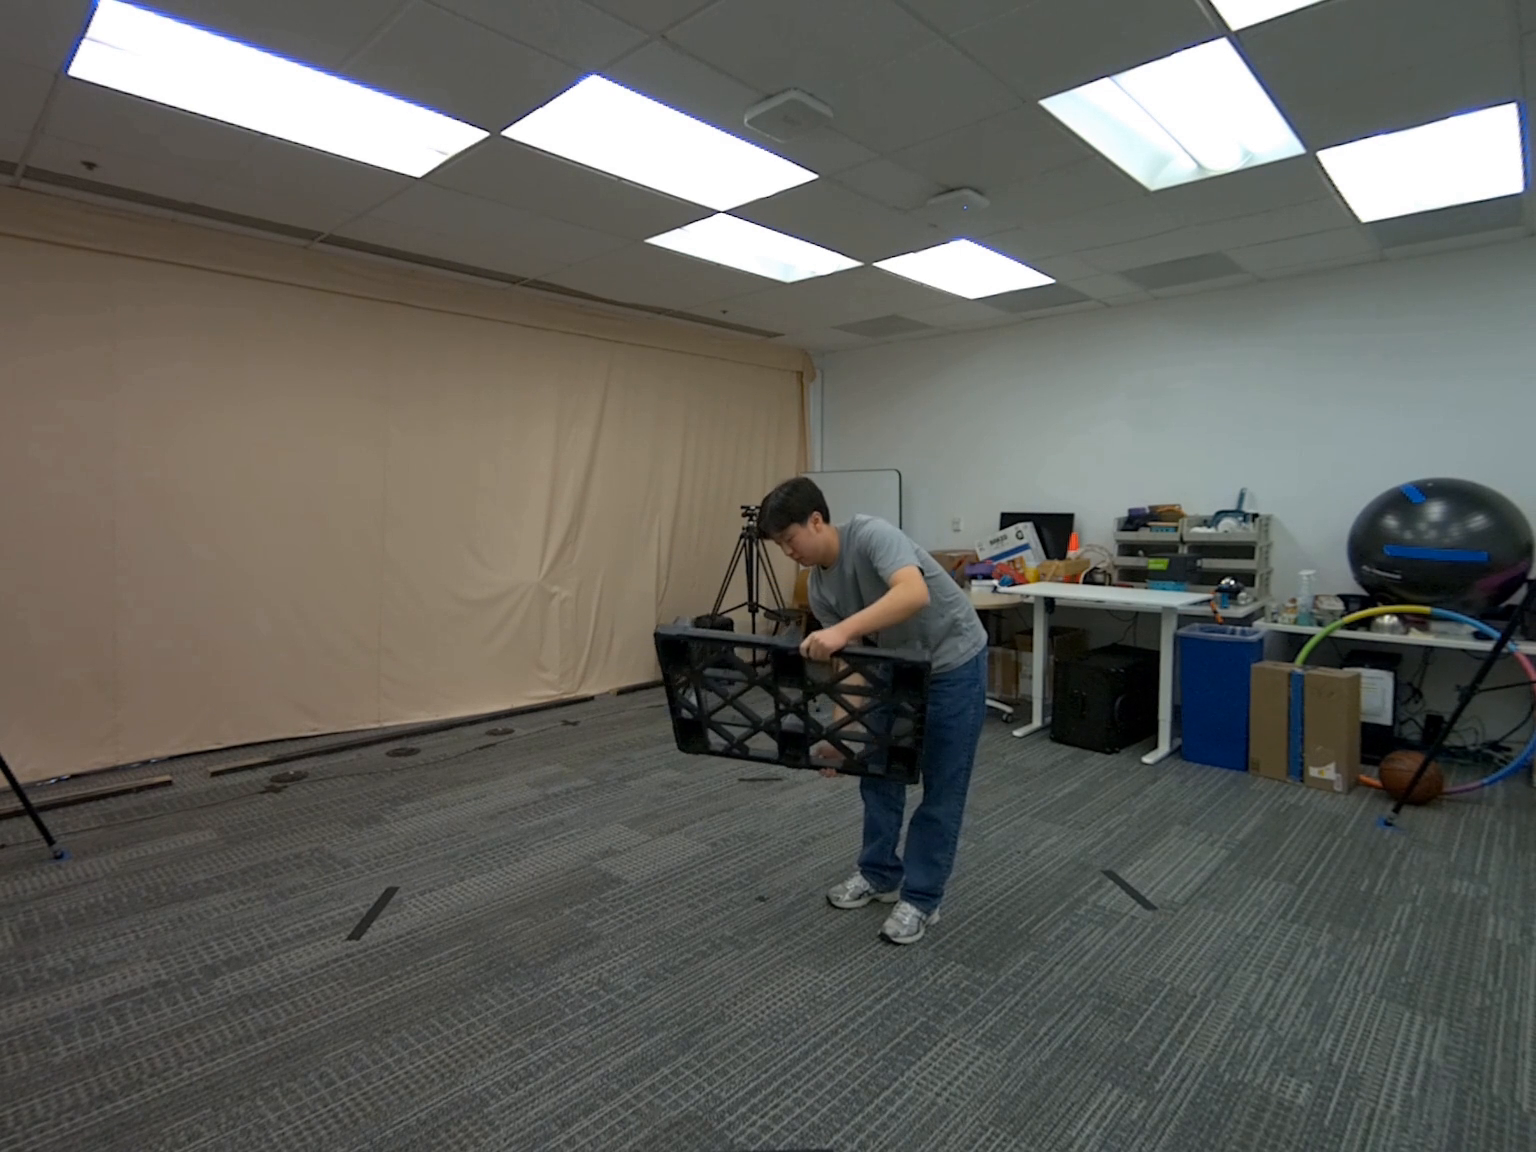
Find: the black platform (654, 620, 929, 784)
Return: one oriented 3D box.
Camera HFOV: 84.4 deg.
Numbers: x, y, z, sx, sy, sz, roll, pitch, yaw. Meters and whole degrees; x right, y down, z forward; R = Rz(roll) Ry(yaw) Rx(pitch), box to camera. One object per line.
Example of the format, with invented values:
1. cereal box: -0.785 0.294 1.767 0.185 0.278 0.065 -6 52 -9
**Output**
1. black platform: 0.074 0.379 2.606 0.818 0.592 0.144 5 42 13
